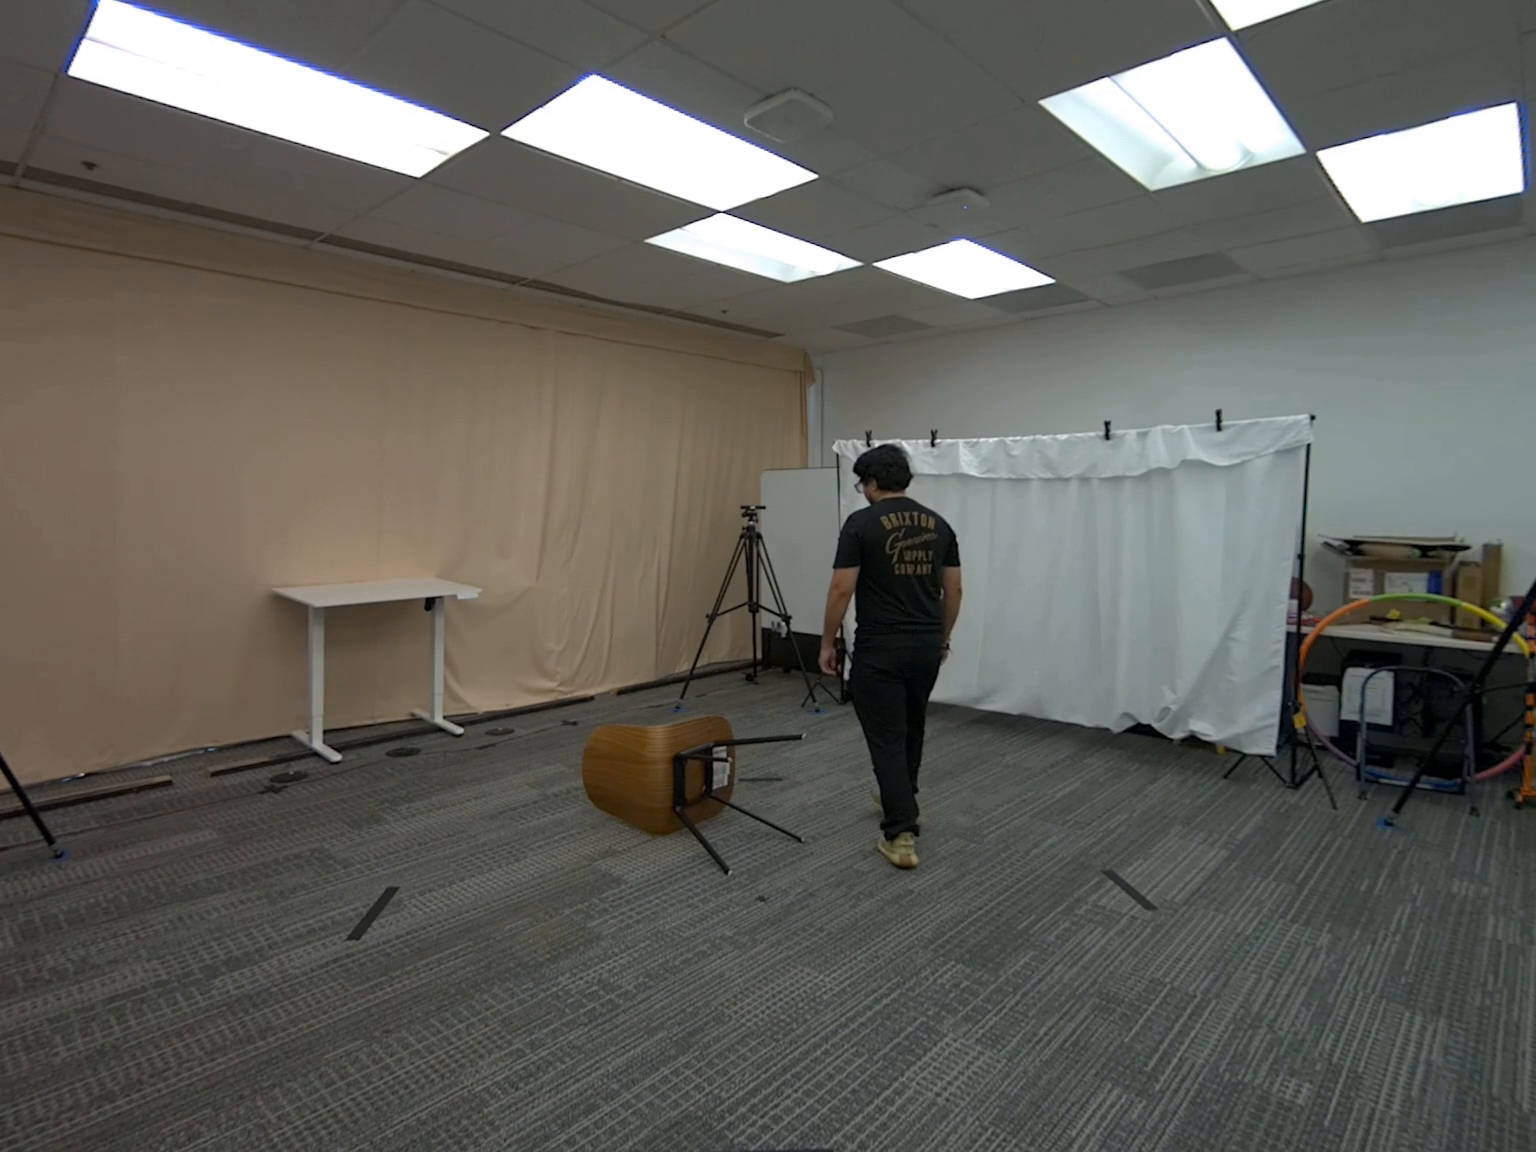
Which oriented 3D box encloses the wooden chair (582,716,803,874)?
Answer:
[{"bbox_3d":[-0.313,0.865,3.618,0.906,0.477,0.507,4,5,39],"label":"wooden chair"}]
